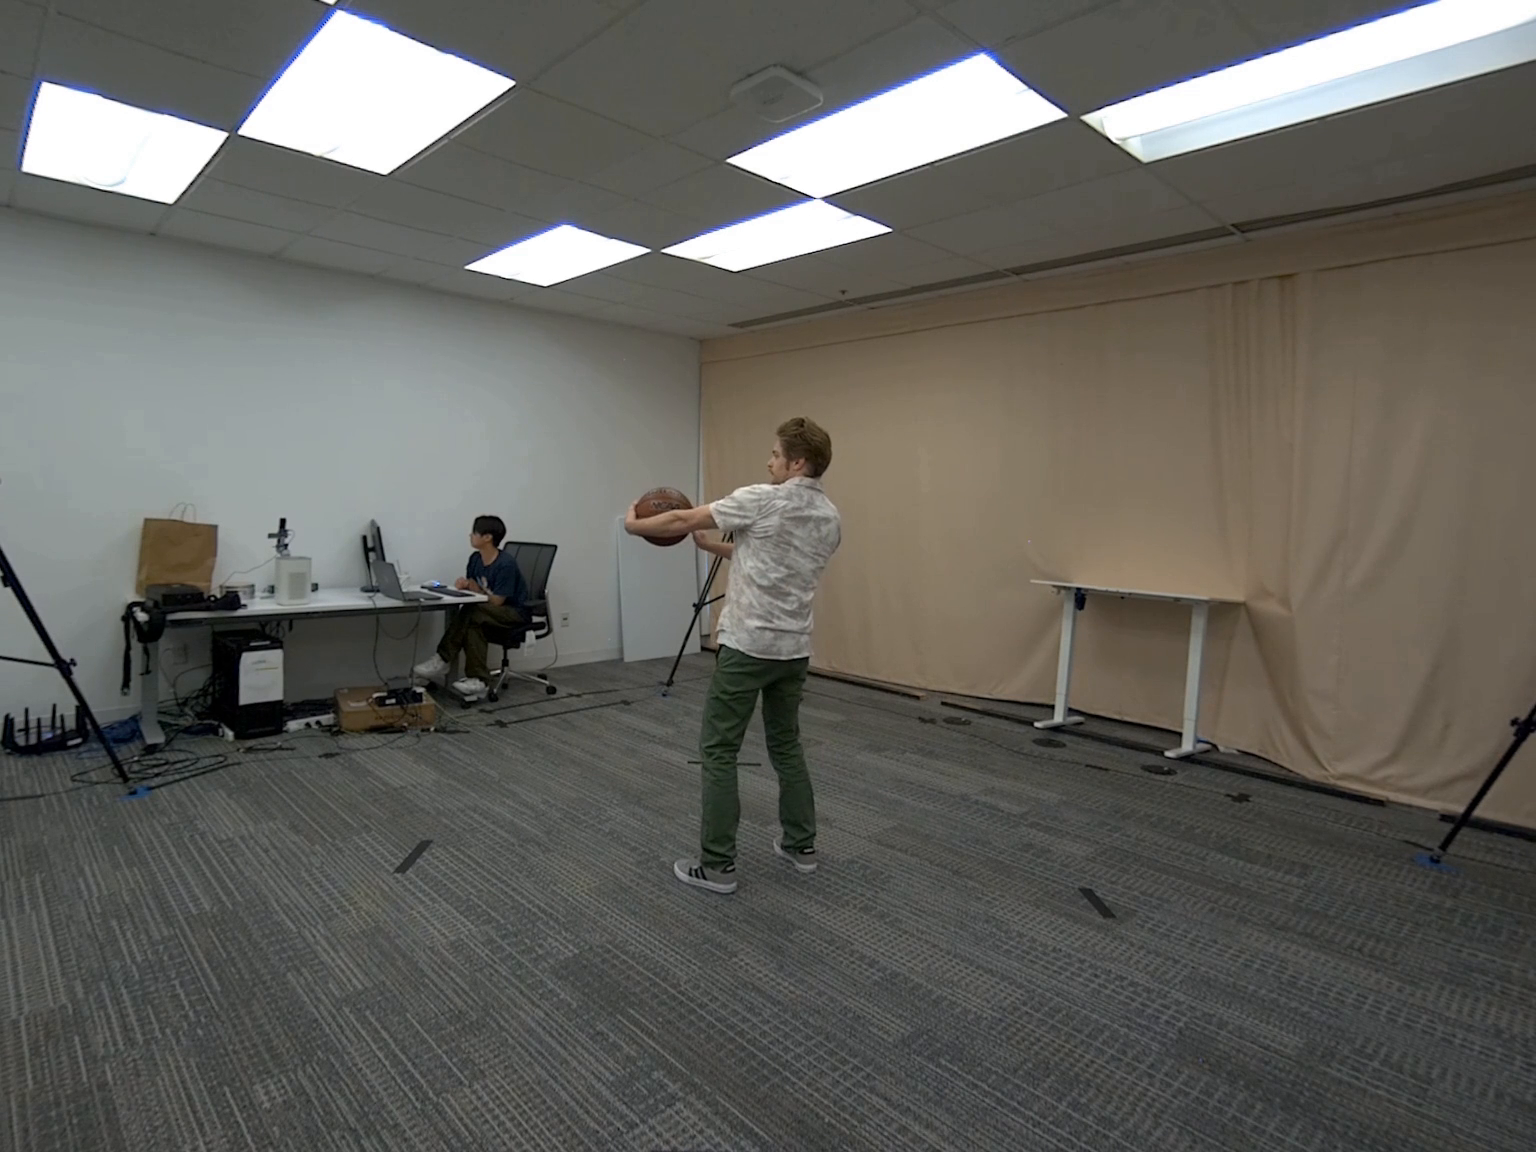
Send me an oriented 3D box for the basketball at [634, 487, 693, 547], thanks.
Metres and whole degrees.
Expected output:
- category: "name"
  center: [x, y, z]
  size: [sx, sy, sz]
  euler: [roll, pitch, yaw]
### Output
- category: "basketball"
  center: [-0.417, -0.240, 3.376]
  size: [0.236, 0.235, 0.237]
  euler: [1, 4, -1]
